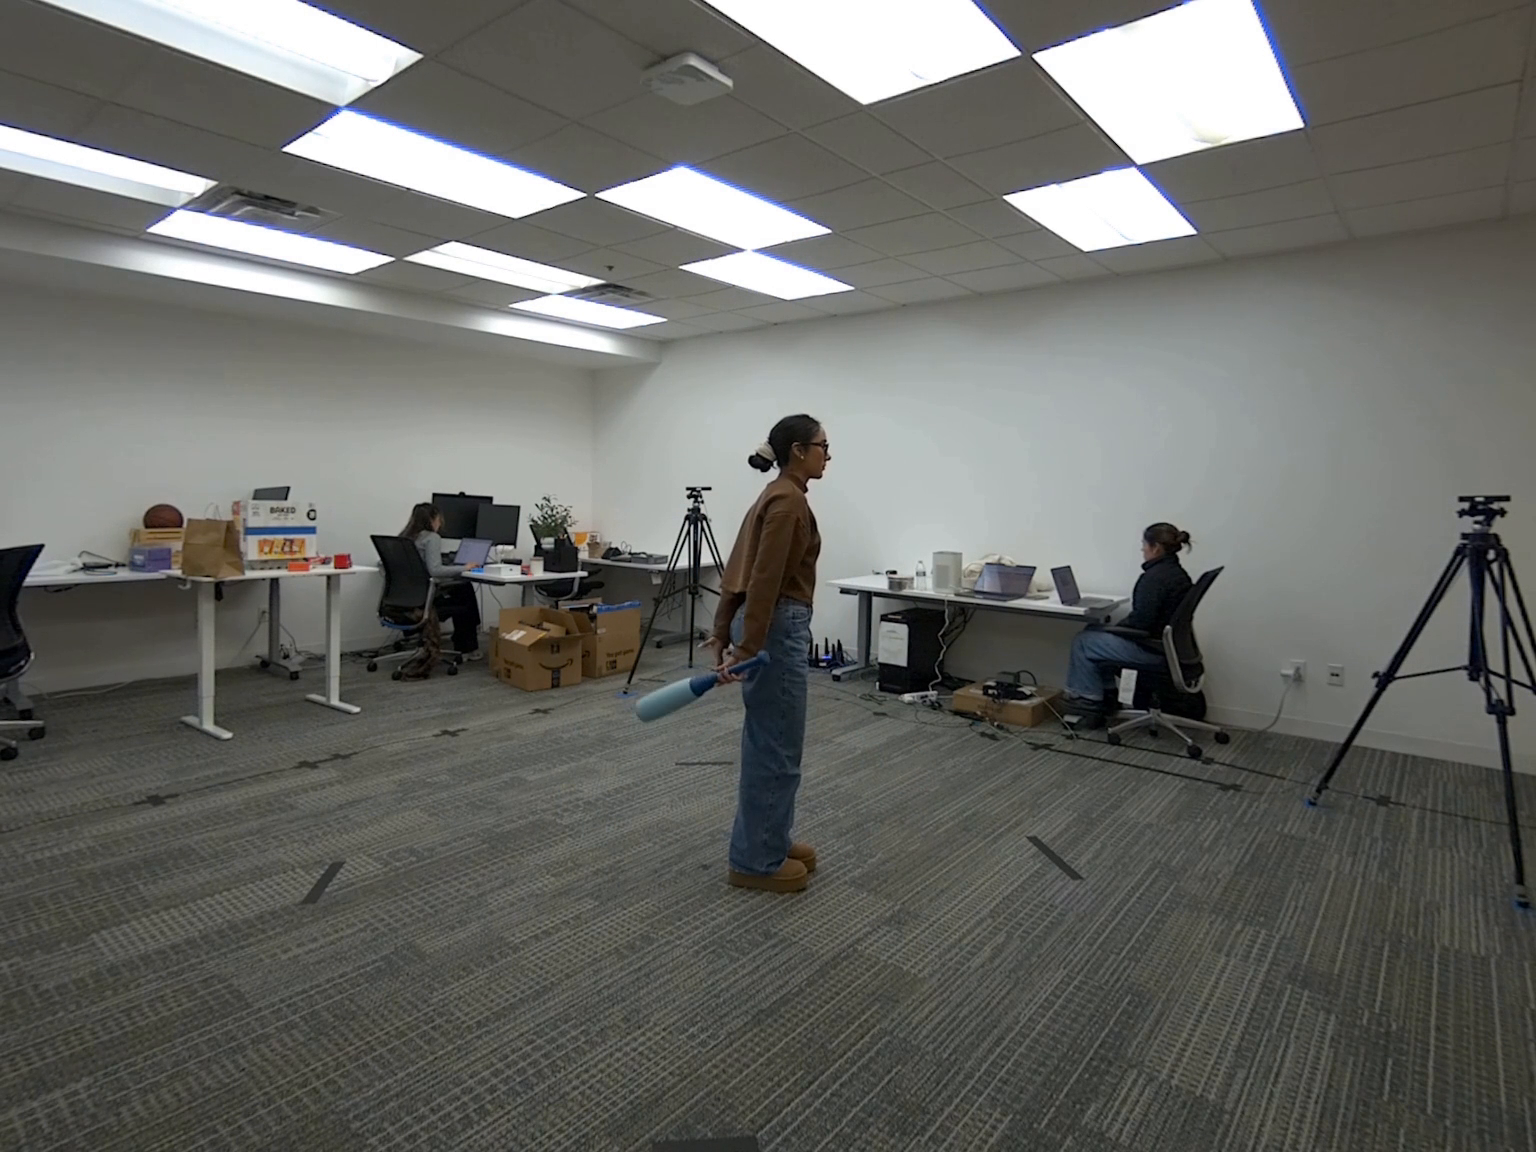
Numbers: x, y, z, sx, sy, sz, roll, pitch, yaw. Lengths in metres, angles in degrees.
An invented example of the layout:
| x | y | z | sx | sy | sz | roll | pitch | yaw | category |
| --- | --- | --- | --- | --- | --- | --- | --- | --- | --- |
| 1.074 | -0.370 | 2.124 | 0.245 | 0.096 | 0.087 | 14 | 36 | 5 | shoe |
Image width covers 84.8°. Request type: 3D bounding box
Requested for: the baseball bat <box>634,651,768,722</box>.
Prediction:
| x | y | z | sx | sy | sz | roll | pitch | yaw | category |
| --- | --- | --- | --- | --- | --- | --- | --- | --- | --- |
| -0.219 | 0.361 | 2.793 | 0.550 | 0.090 | 0.087 | -26 | -10 | 29 | baseball bat |
